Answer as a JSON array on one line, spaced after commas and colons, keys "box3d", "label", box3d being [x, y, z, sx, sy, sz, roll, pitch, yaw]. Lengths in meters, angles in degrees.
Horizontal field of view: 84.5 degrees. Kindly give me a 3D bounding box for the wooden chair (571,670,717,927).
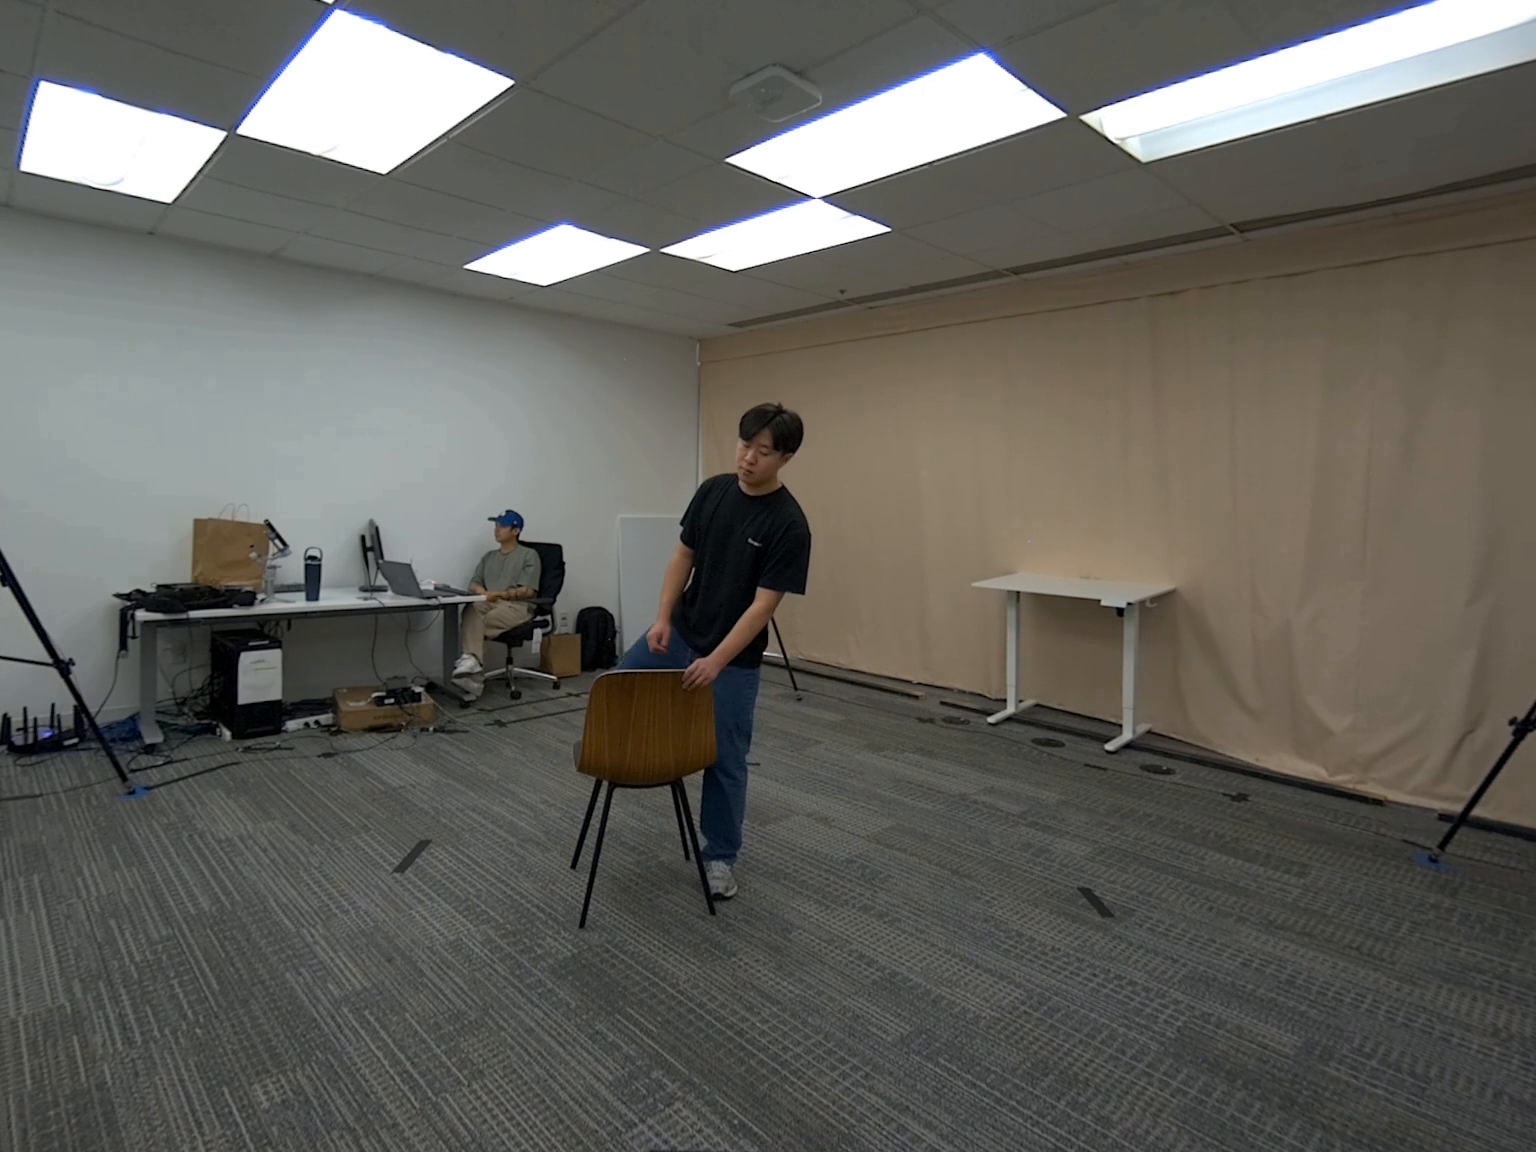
[{"box3d": [-0.449, 0.688, 2.940, 0.472, 0.873, 0.532, 0, 8, -16], "label": "wooden chair"}]
